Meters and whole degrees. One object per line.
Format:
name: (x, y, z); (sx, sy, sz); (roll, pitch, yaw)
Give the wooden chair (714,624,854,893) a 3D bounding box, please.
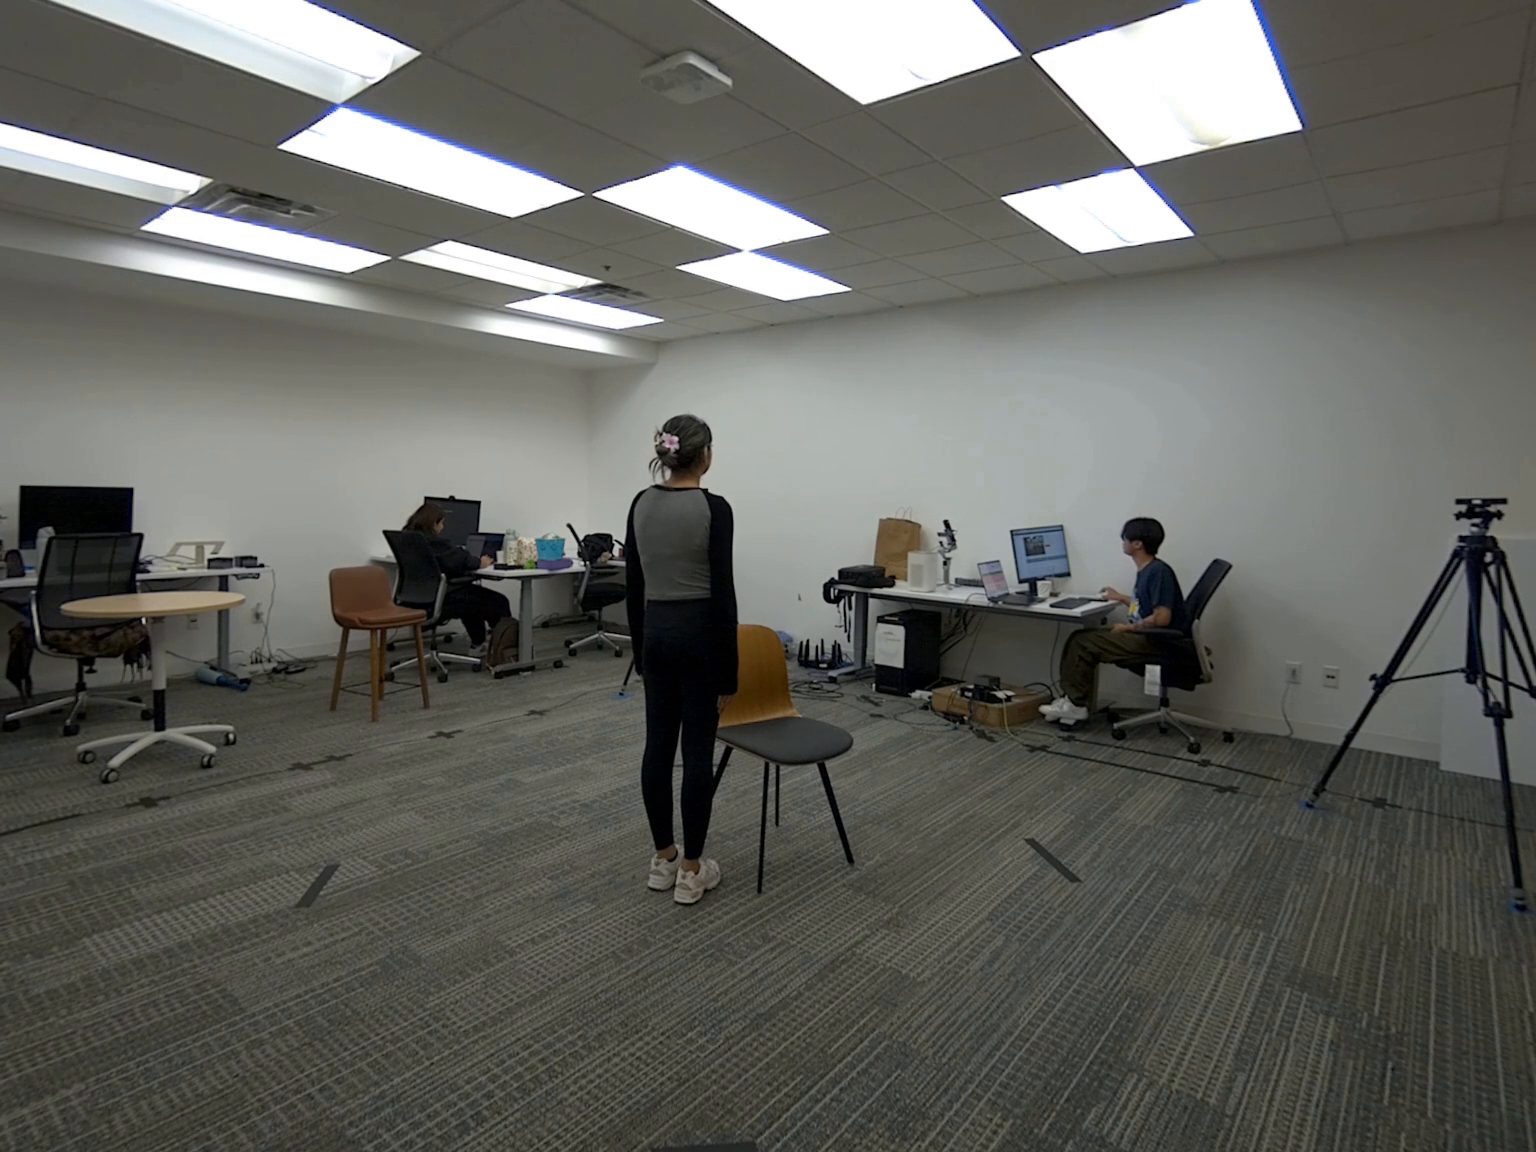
wooden chair: (0.017, 0.637, 3.205); (0.464, 0.878, 0.539); (-1, 0, -38)
